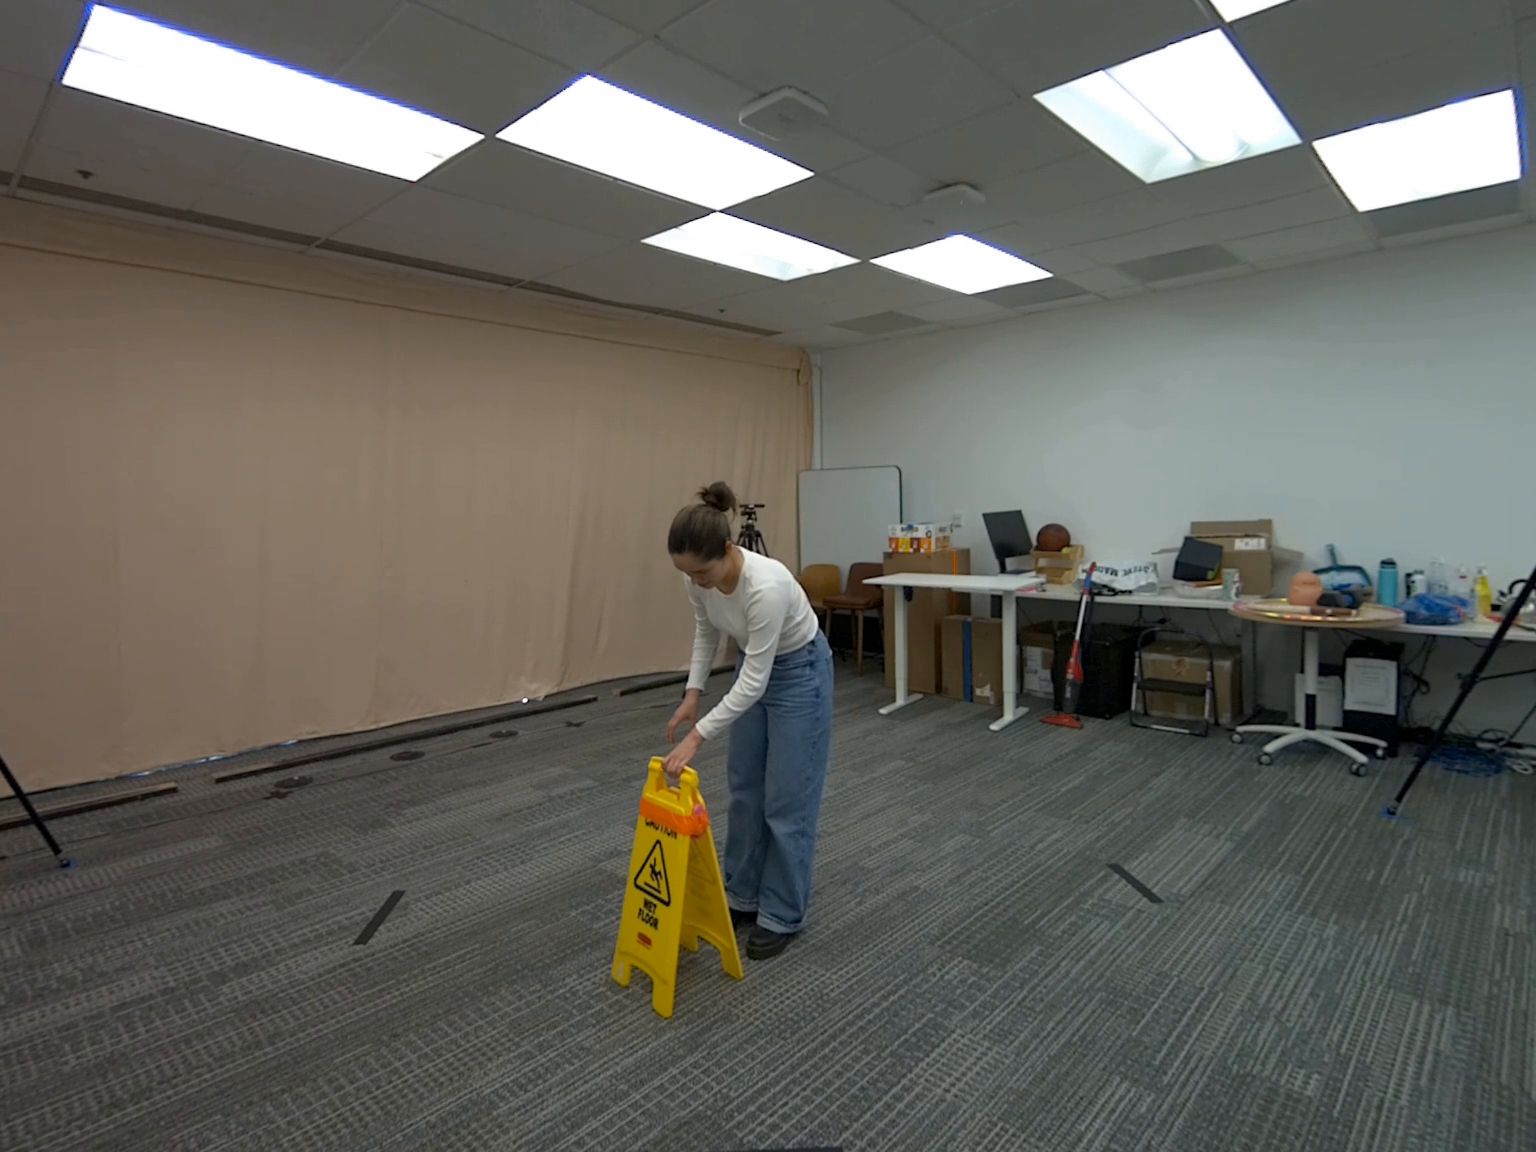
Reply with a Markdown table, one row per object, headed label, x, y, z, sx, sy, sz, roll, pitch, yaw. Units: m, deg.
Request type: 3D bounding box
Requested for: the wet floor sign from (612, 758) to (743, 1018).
| label | x | y | z | sx | sy | sz | roll | pitch | yaw |
| --- | --- | --- | --- | --- | --- | --- | --- | --- | --- |
| wet floor sign | -0.264 | 0.864 | 2.455 | 0.281 | 0.644 | 0.292 | -3 | 6 | -44 |
